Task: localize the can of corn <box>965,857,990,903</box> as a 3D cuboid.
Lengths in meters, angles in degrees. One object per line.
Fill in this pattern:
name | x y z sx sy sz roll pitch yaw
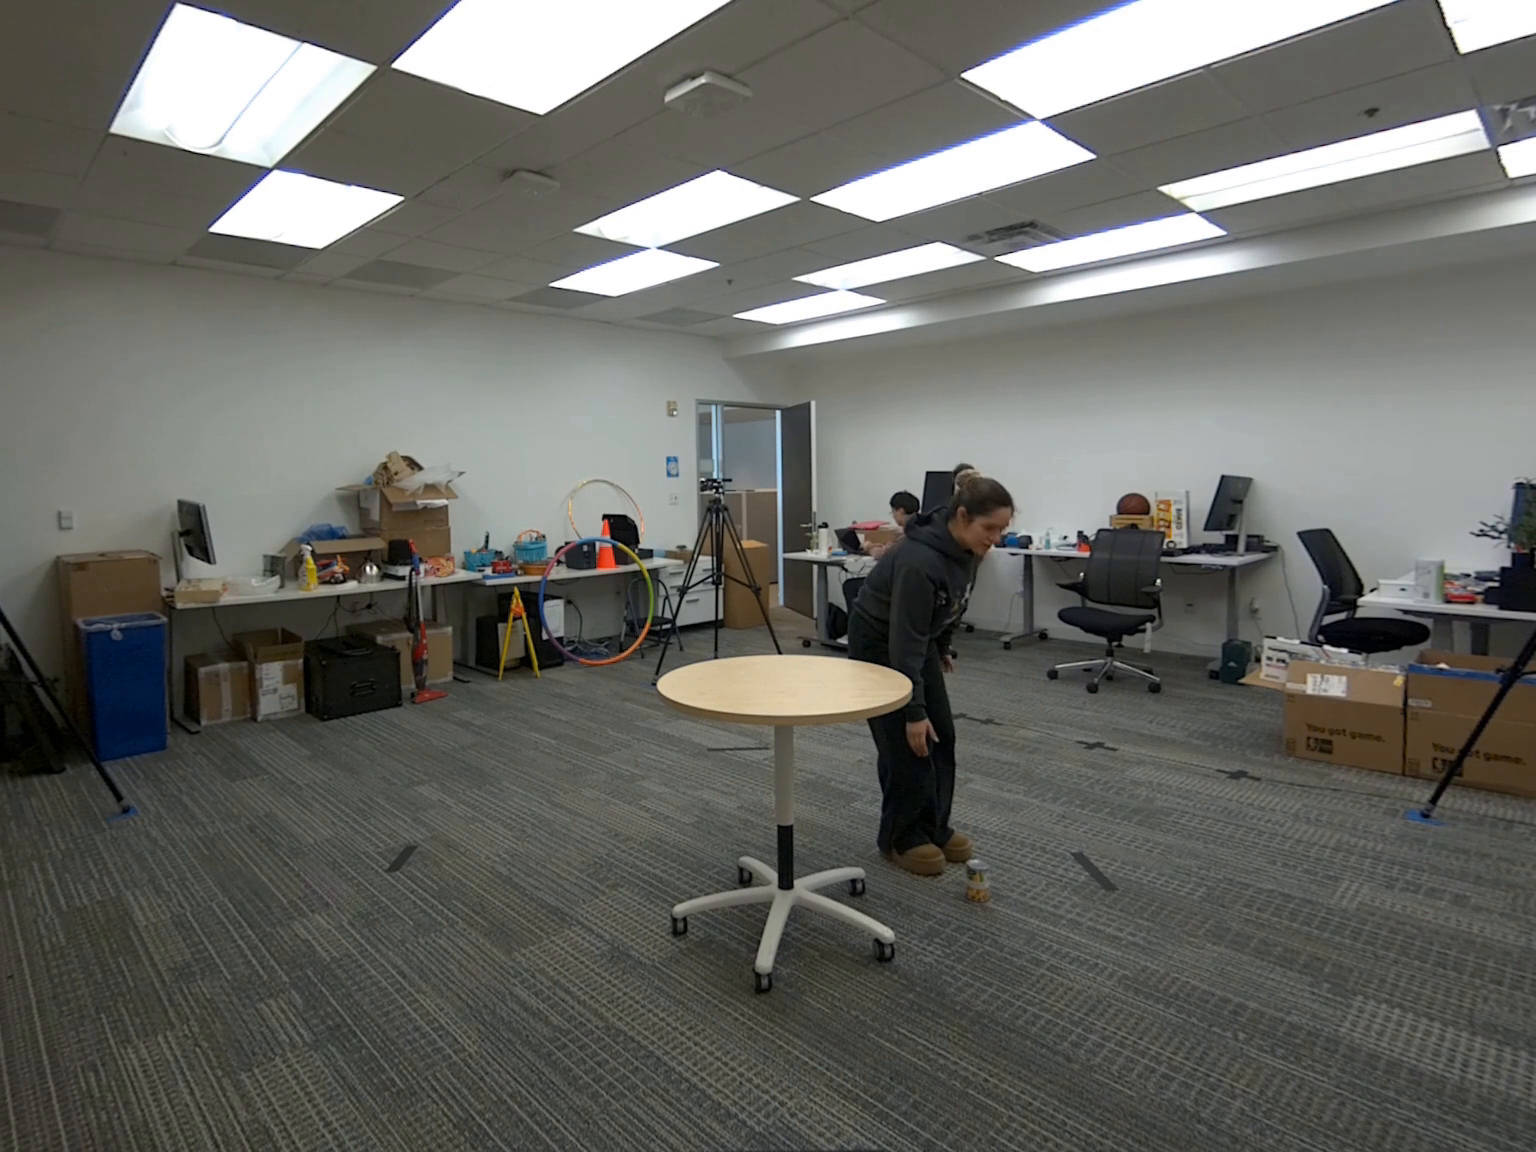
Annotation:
can of corn | 0.700 1.015 2.811 0.074 0.111 0.074 -2 3 -1
